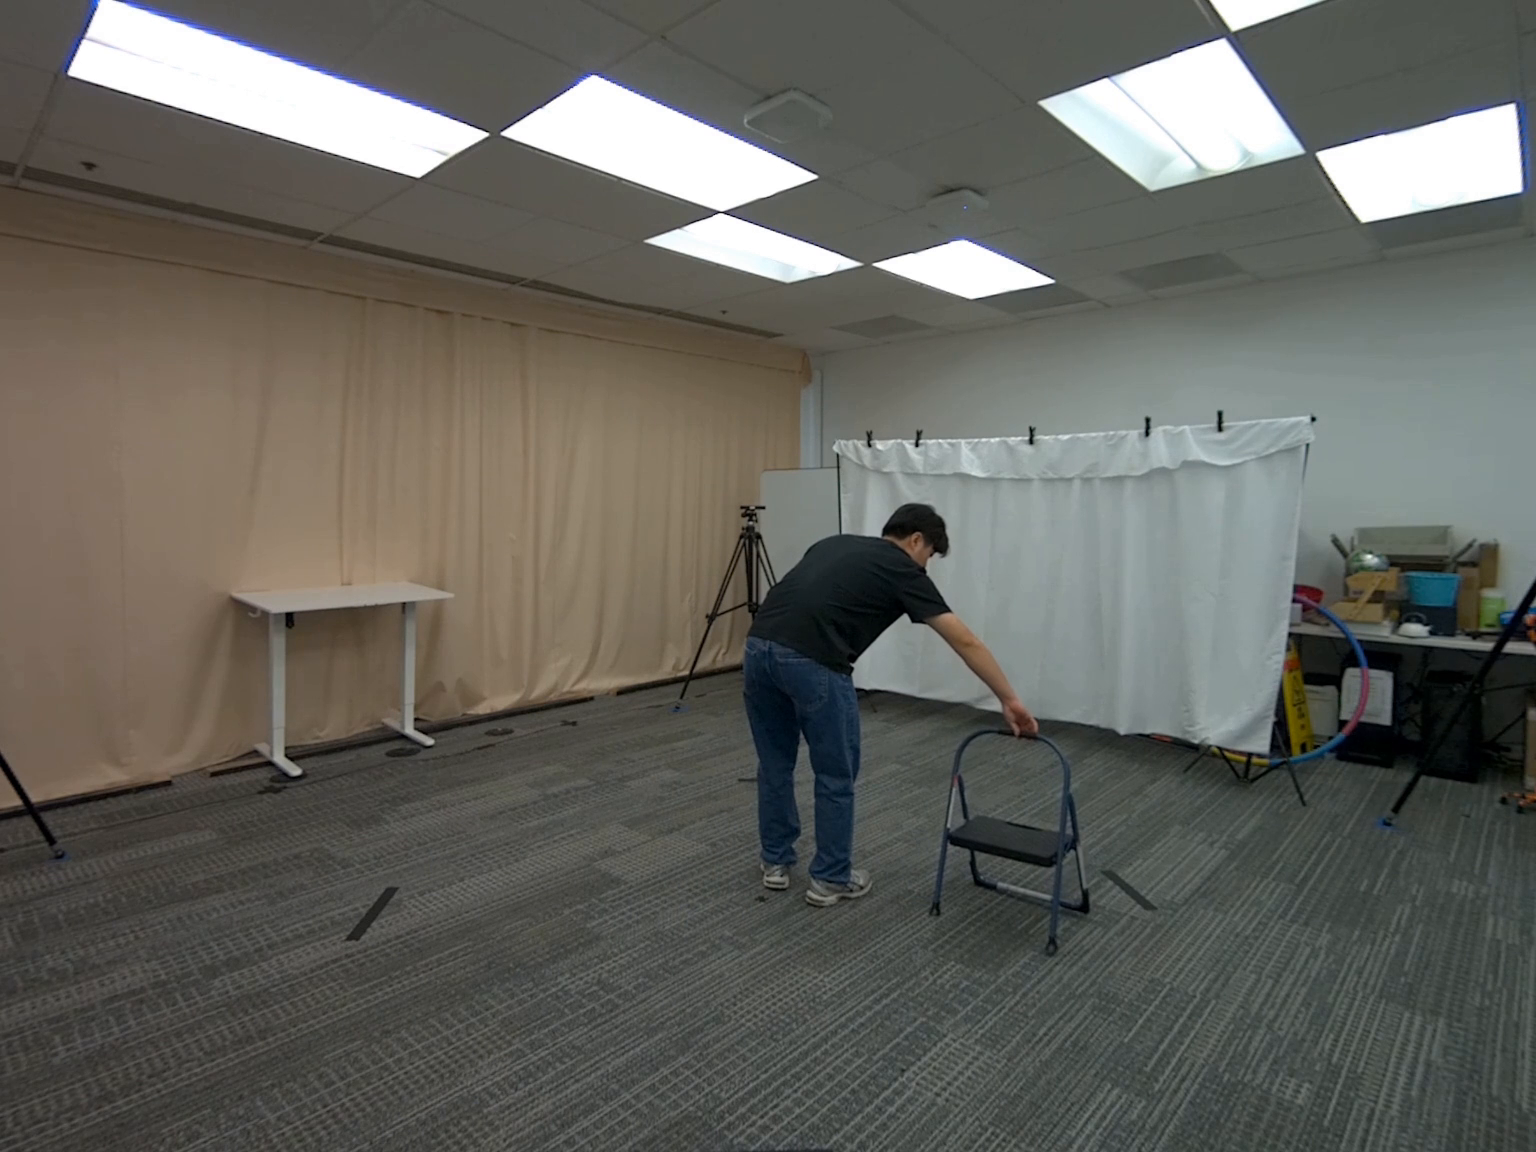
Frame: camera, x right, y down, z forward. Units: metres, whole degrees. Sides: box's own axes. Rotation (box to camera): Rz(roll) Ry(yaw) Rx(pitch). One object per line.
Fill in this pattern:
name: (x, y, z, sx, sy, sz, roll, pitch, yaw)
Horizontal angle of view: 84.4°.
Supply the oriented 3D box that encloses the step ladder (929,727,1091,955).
step ladder: (0.819, 0.843, 2.847, 0.444, 0.605, 0.339, 0, 2, 40)
